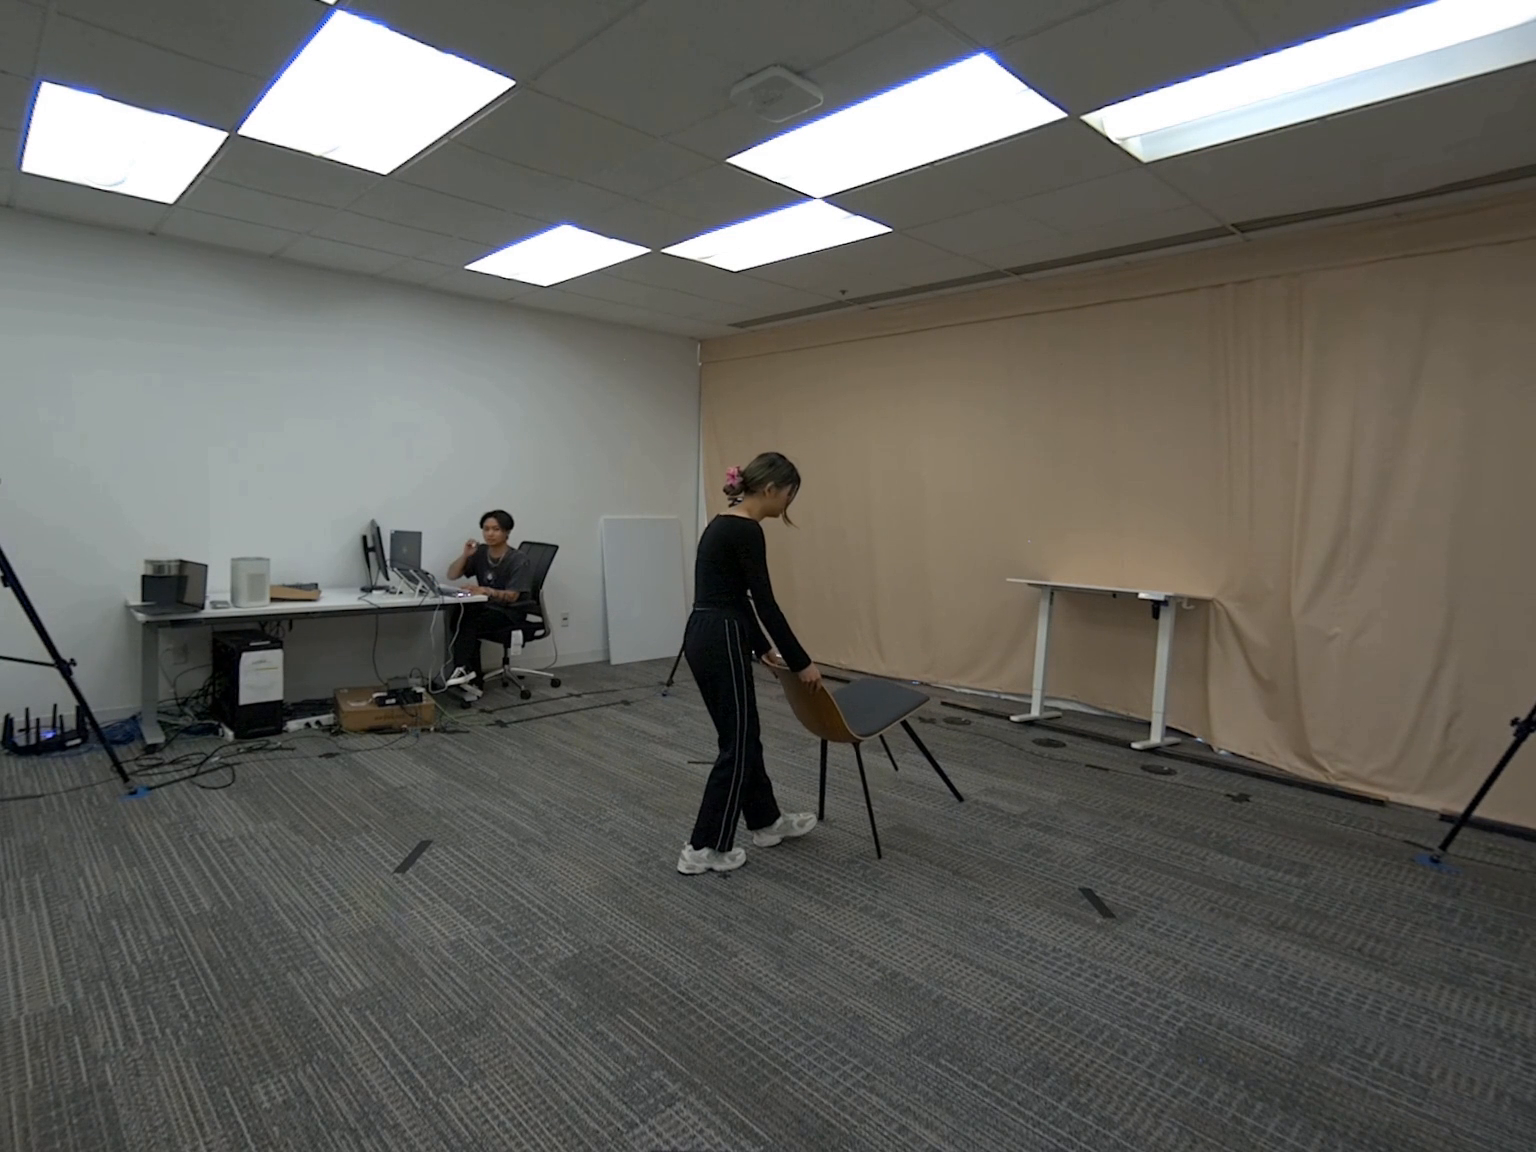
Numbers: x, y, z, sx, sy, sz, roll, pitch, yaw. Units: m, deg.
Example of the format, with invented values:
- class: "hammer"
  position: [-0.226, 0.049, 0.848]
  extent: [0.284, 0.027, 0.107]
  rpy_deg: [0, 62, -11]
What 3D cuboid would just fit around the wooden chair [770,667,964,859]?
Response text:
- class: "wooden chair"
  position: [0.379, 0.606, 3.477]
  extent: [0.519, 0.865, 0.488]
  rpy_deg: [-30, 16, -22]
